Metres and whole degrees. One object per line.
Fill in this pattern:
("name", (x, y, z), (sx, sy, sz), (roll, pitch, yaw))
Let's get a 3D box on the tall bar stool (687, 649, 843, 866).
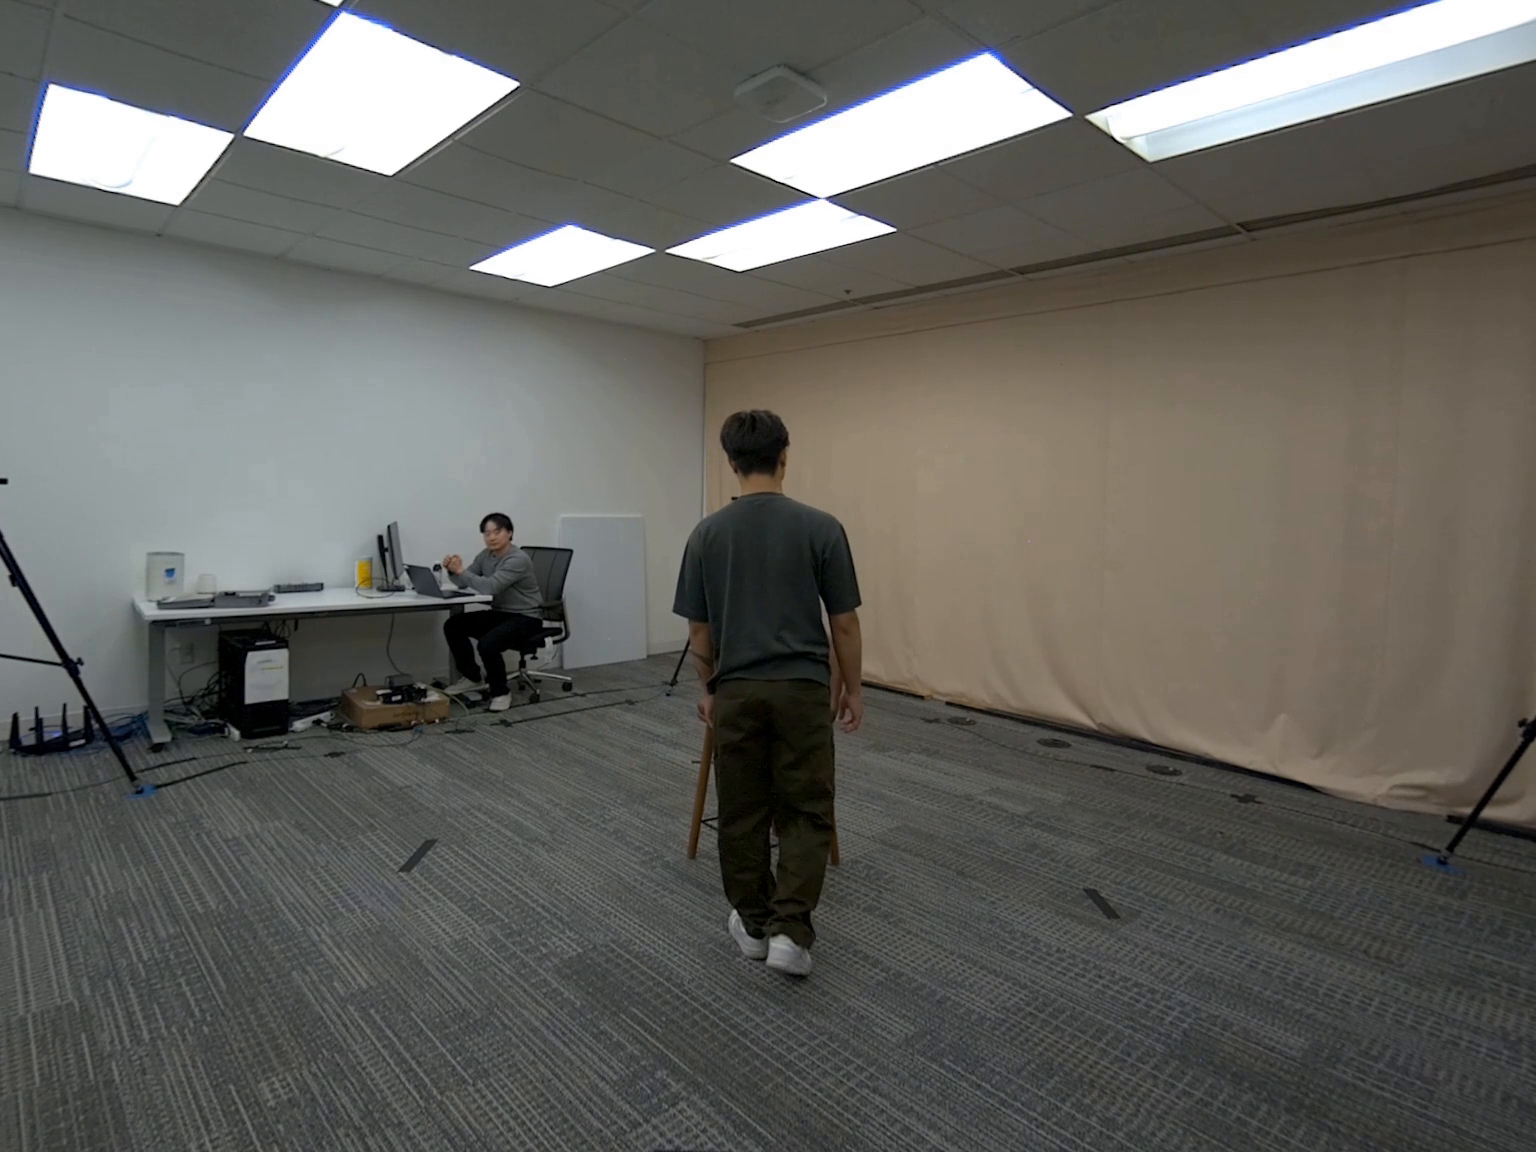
("tall bar stool", (-0.002, 0.667, 3.219), (0.456, 0.888, 0.468), (1, 3, -39))
